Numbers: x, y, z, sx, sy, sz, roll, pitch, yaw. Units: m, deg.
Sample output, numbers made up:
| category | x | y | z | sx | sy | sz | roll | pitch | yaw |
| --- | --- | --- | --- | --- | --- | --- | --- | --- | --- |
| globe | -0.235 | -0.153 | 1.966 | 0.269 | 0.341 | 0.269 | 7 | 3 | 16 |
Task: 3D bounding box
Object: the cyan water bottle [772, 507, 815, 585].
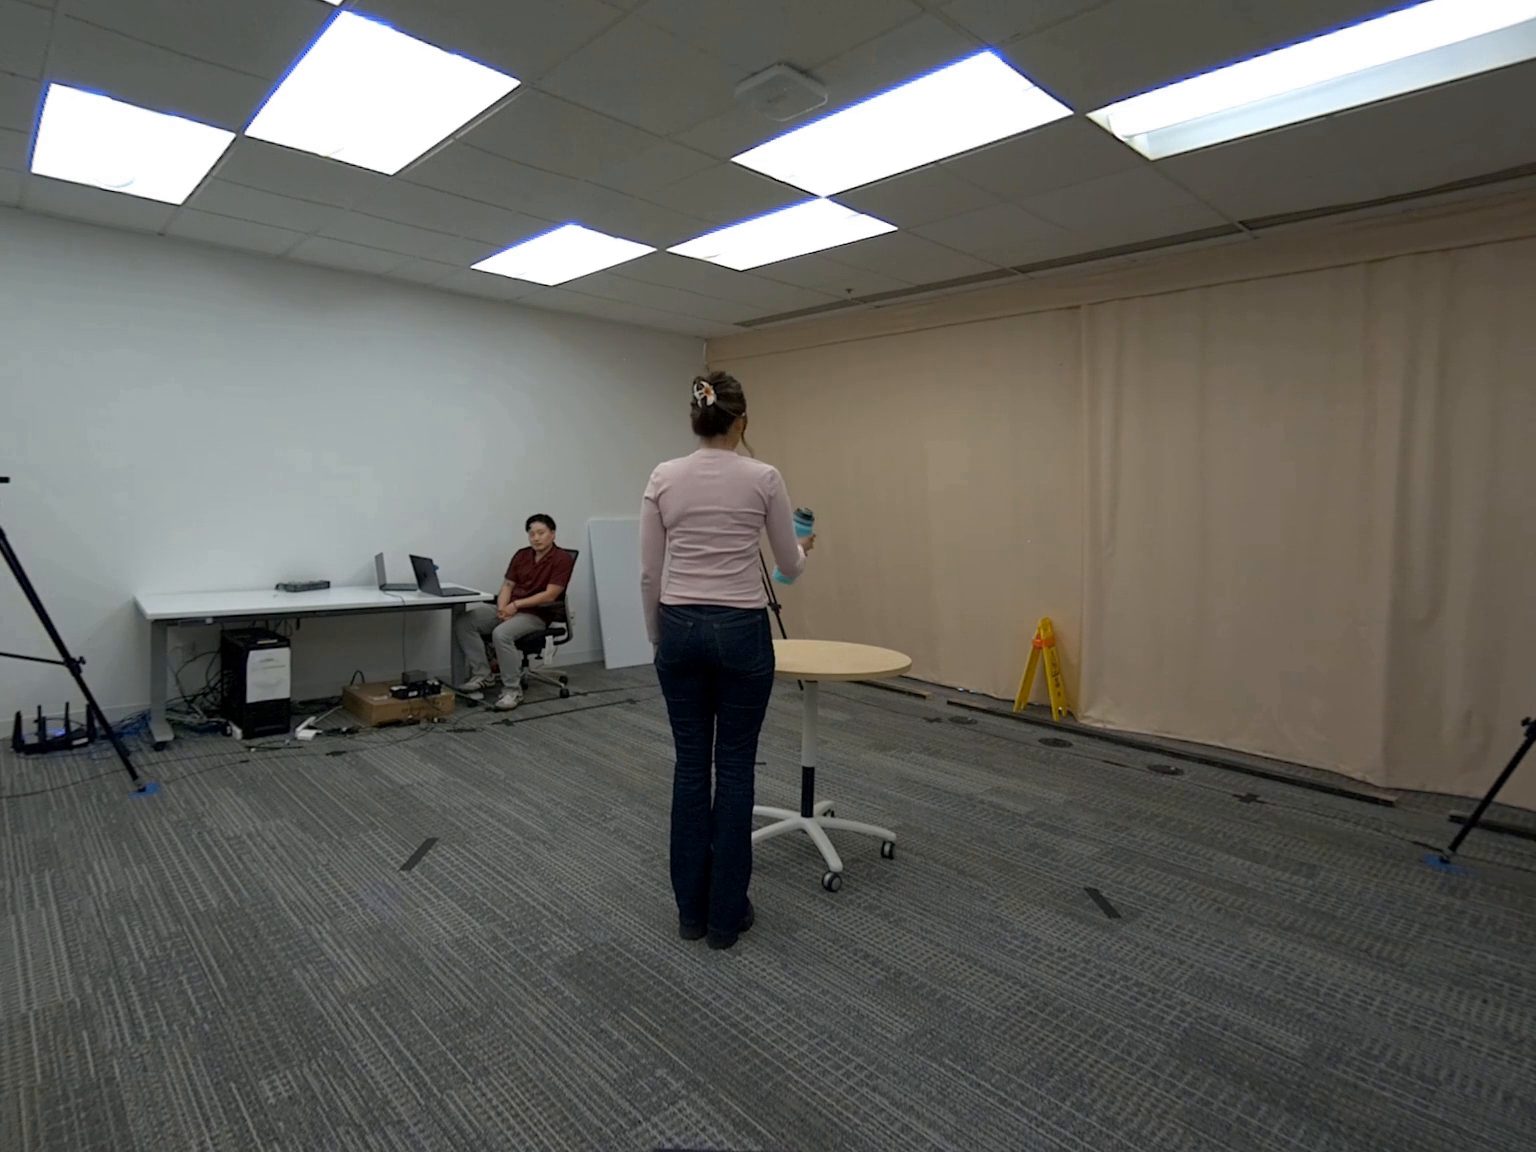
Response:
| category | x | y | z | sx | sy | sz | roll | pitch | yaw |
| --- | --- | --- | --- | --- | --- | --- | --- | --- | --- |
| cyan water bottle | 0.091 | -0.112 | 3.070 | 0.092 | 0.282 | 0.093 | 14 | 10 | -4 |
